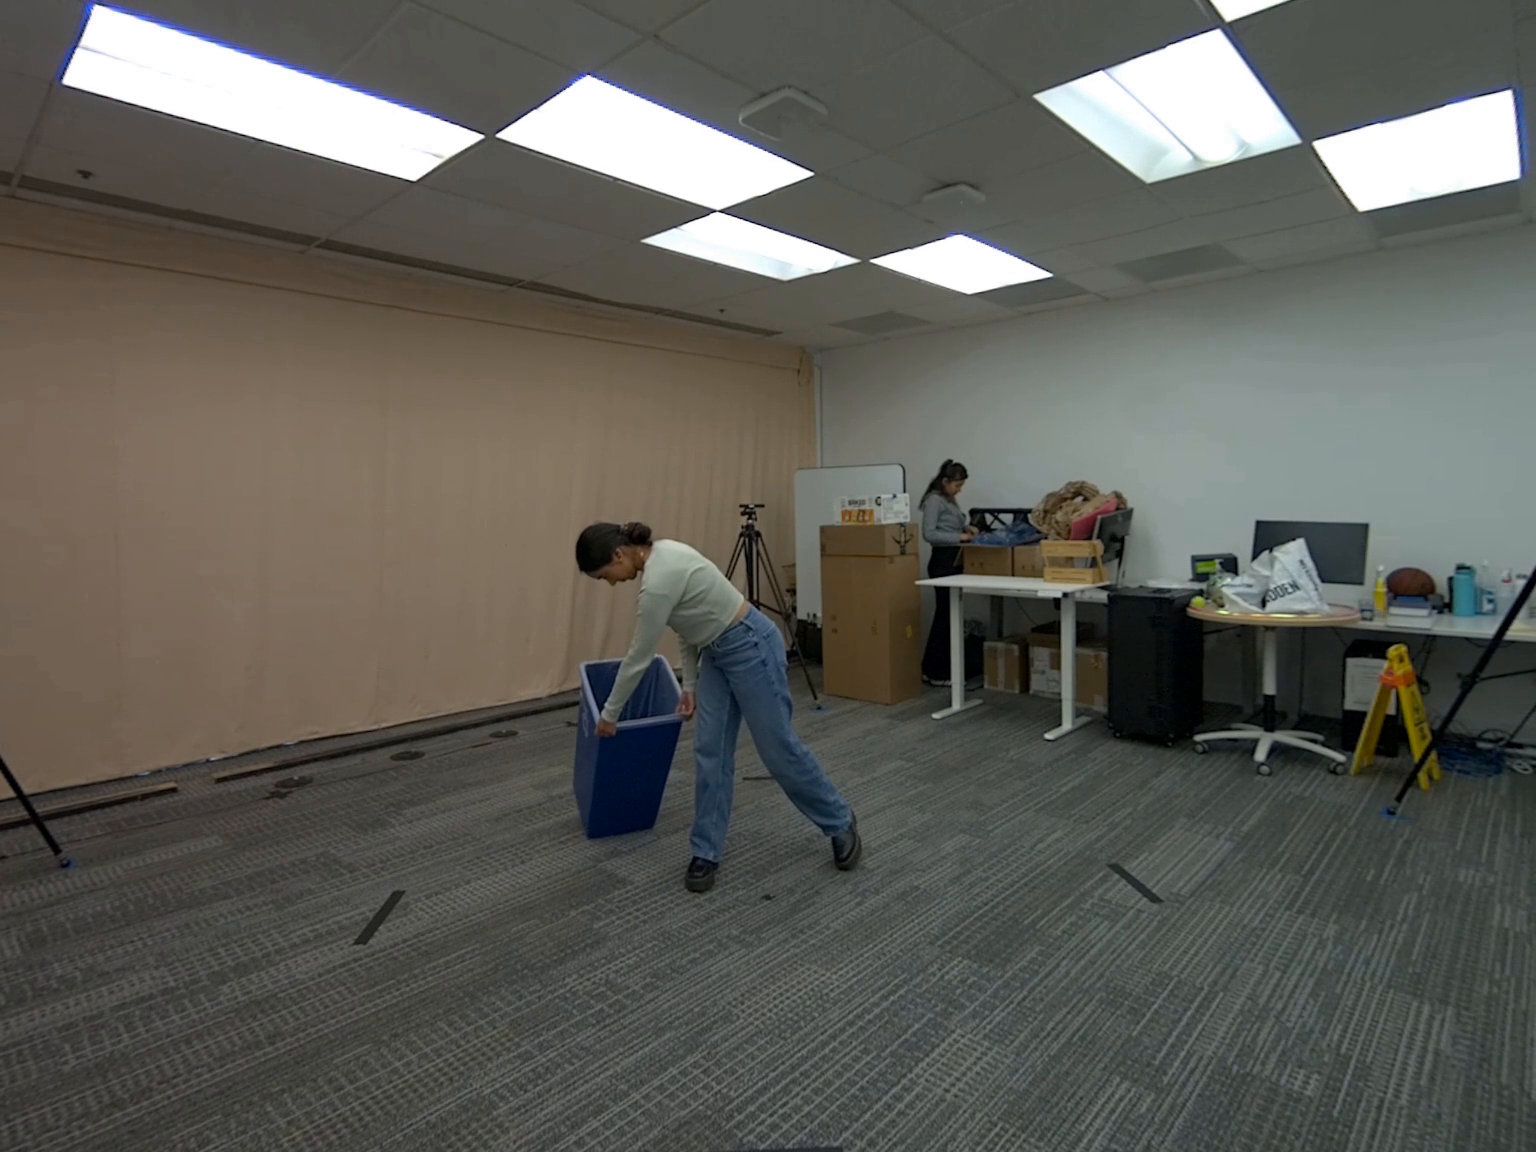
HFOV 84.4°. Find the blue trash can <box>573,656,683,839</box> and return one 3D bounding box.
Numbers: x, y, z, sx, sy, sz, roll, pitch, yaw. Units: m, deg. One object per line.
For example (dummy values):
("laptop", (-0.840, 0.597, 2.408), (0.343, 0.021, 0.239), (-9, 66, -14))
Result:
("blue trash can", (-0.608, 0.730, 3.511), (0.369, 0.706, 0.387), (-4, 36, -25))
